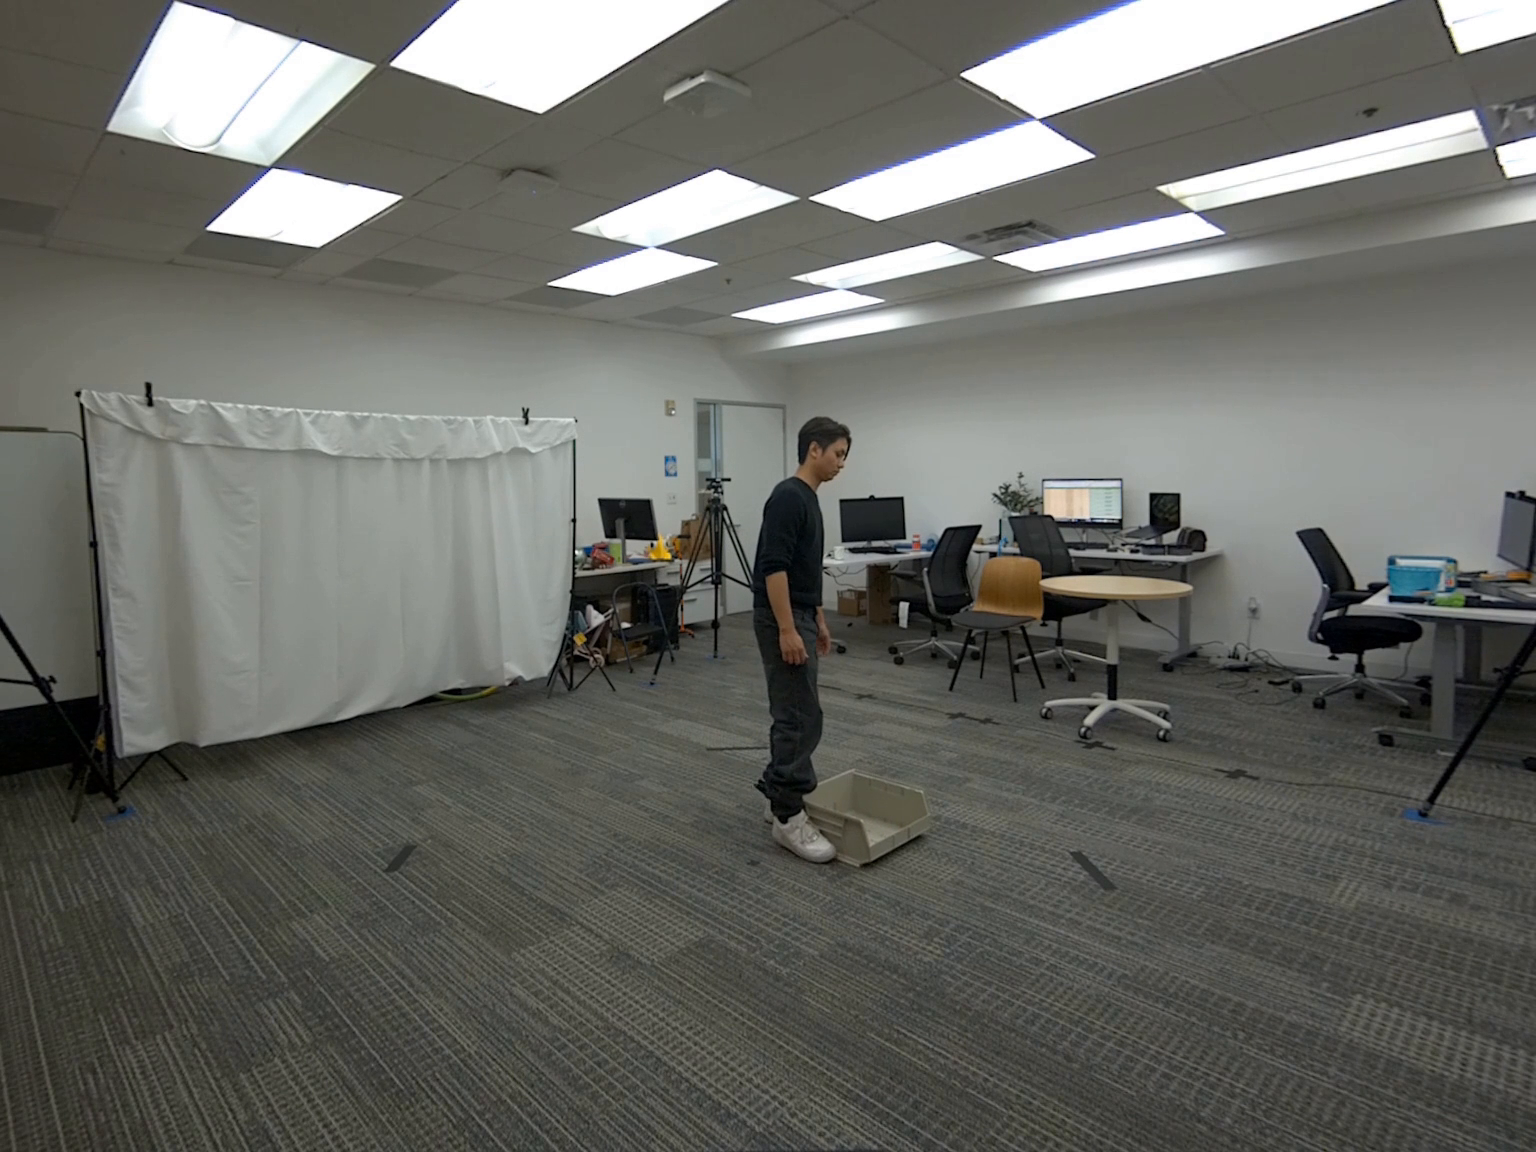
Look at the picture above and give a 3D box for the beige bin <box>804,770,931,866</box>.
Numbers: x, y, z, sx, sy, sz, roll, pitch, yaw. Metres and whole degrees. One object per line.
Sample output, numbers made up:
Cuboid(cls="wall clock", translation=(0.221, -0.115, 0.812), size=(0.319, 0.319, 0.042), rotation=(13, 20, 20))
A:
Cuboid(cls="beige bin", translation=(0.368, 0.928, 3.291), size=(0.389, 0.188, 0.411), rotation=(3, 8, 44))
